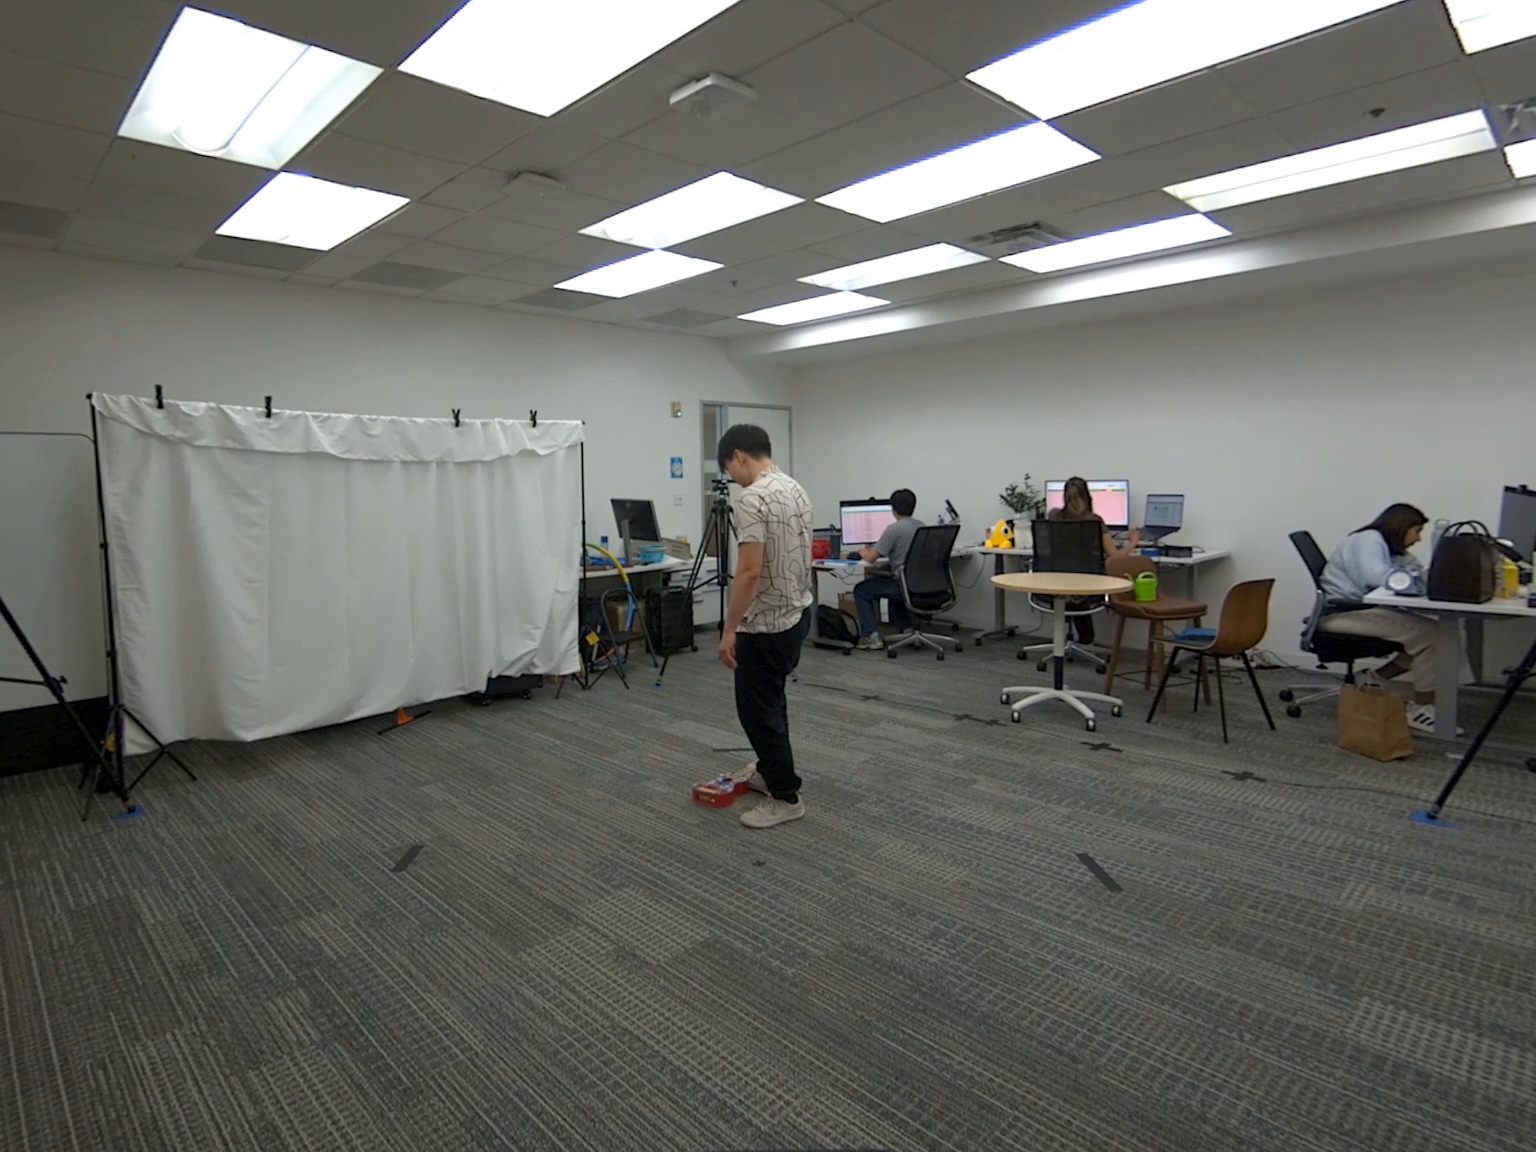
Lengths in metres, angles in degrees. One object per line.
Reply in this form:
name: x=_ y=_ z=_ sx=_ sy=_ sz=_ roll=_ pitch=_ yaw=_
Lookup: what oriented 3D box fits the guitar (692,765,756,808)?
guitar: x=-0.115 y=0.930 z=3.864 sx=0.199 sy=0.070 sz=0.485 roll=3 pitch=8 yaw=43
